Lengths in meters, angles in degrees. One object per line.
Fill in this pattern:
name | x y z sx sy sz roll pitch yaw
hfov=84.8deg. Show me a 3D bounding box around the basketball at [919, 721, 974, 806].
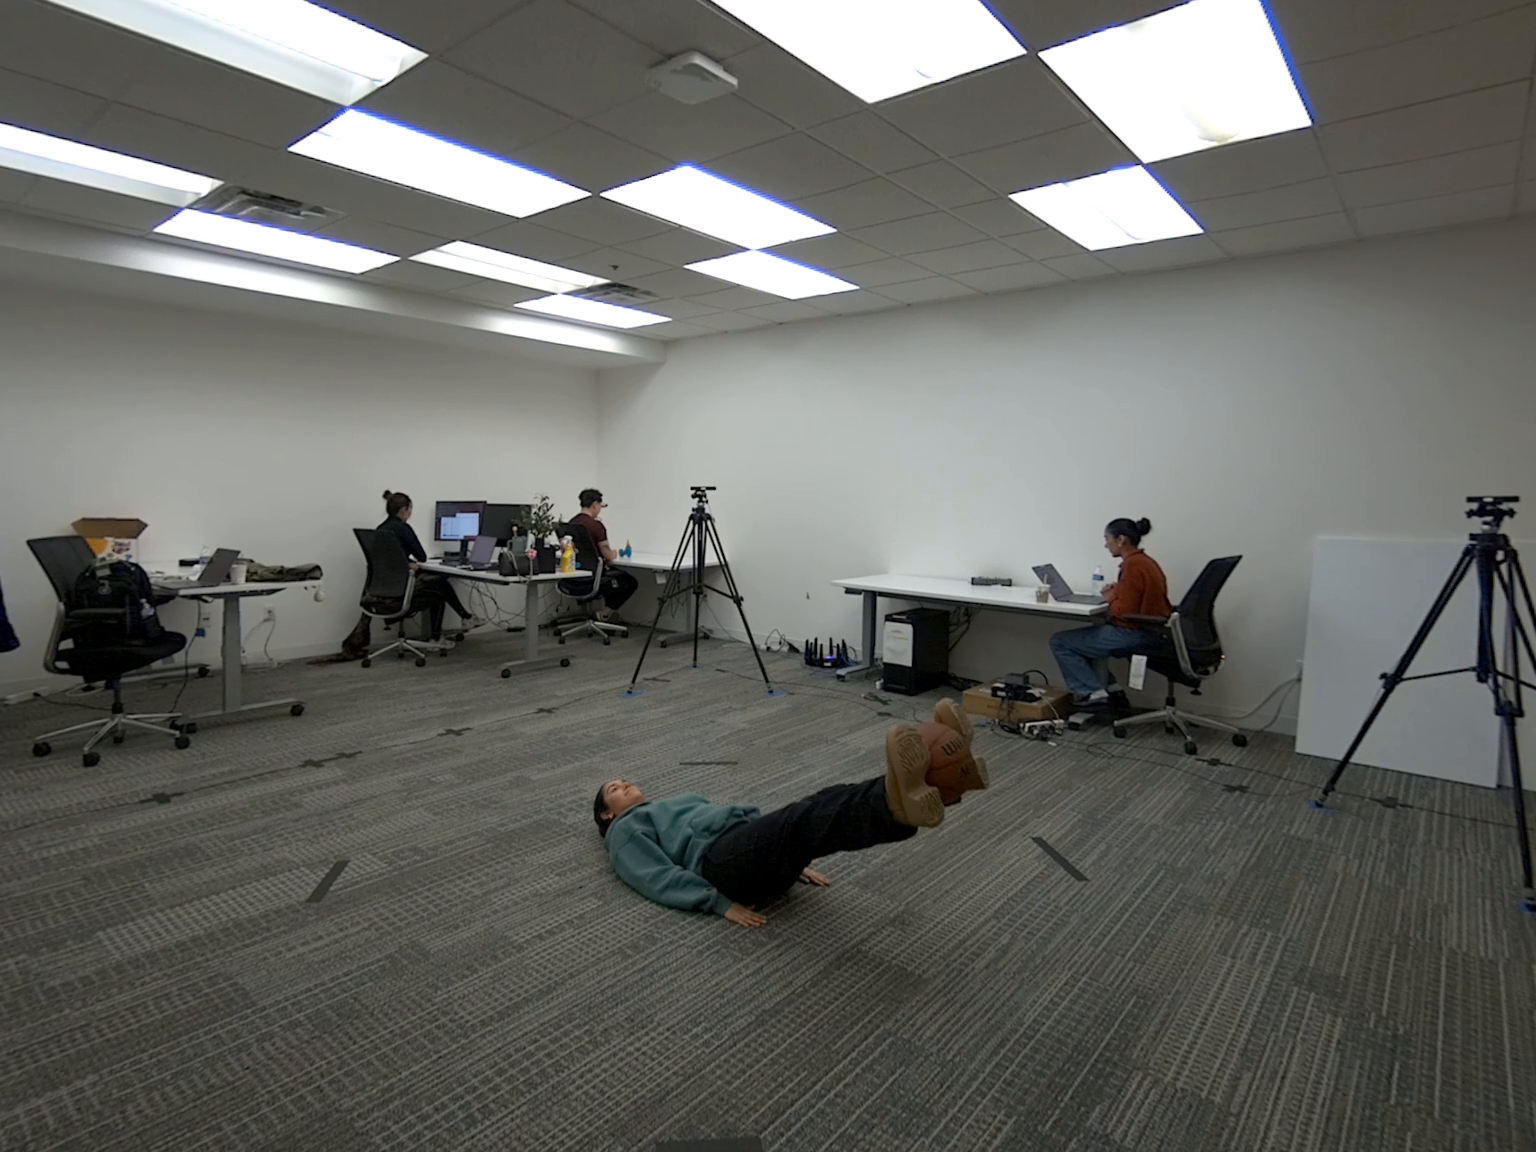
basketball | 0.474 0.542 2.484 0.236 0.235 0.237 0 4 -2
